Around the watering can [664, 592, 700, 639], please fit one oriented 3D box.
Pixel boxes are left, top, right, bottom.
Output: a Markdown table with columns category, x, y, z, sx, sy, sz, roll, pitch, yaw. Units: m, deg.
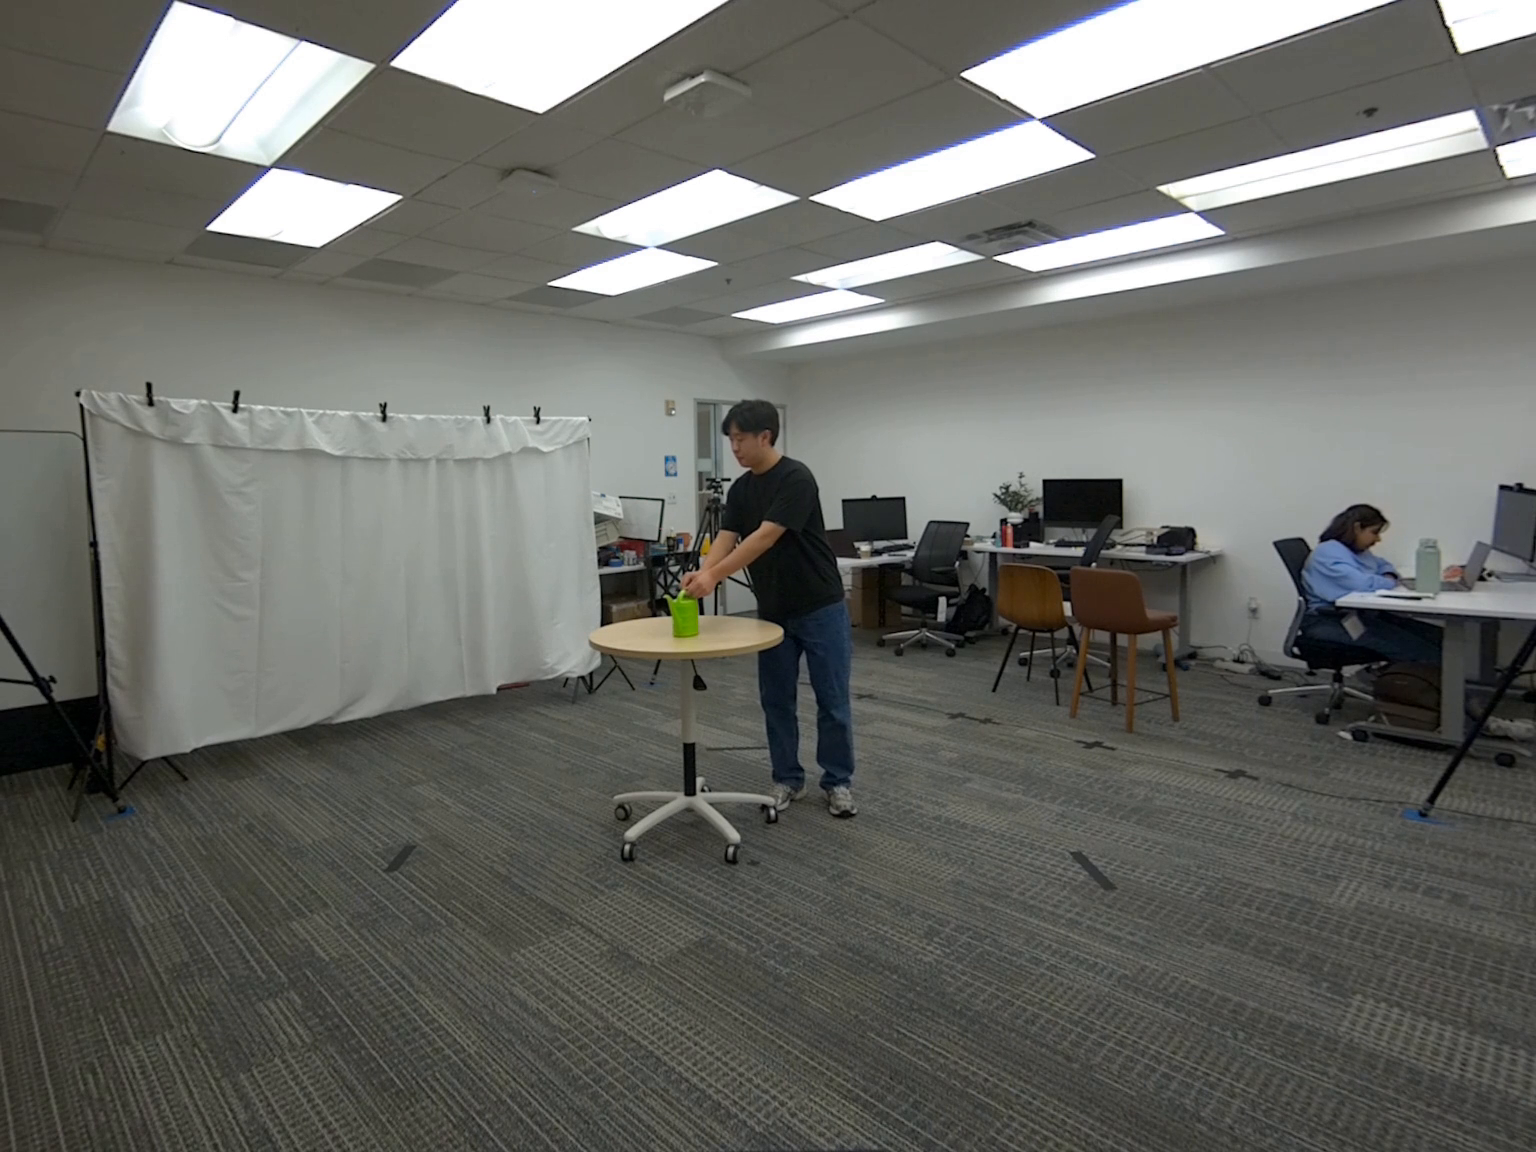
| category | x | y | z | sx | sy | sz | roll | pitch | yaw |
| --- | --- | --- | --- | --- | --- | --- | --- | --- | --- |
| watering can | -0.338 | 0.143 | 3.276 | 0.100 | 0.176 | 0.272 | 1 | 4 | 31 |
